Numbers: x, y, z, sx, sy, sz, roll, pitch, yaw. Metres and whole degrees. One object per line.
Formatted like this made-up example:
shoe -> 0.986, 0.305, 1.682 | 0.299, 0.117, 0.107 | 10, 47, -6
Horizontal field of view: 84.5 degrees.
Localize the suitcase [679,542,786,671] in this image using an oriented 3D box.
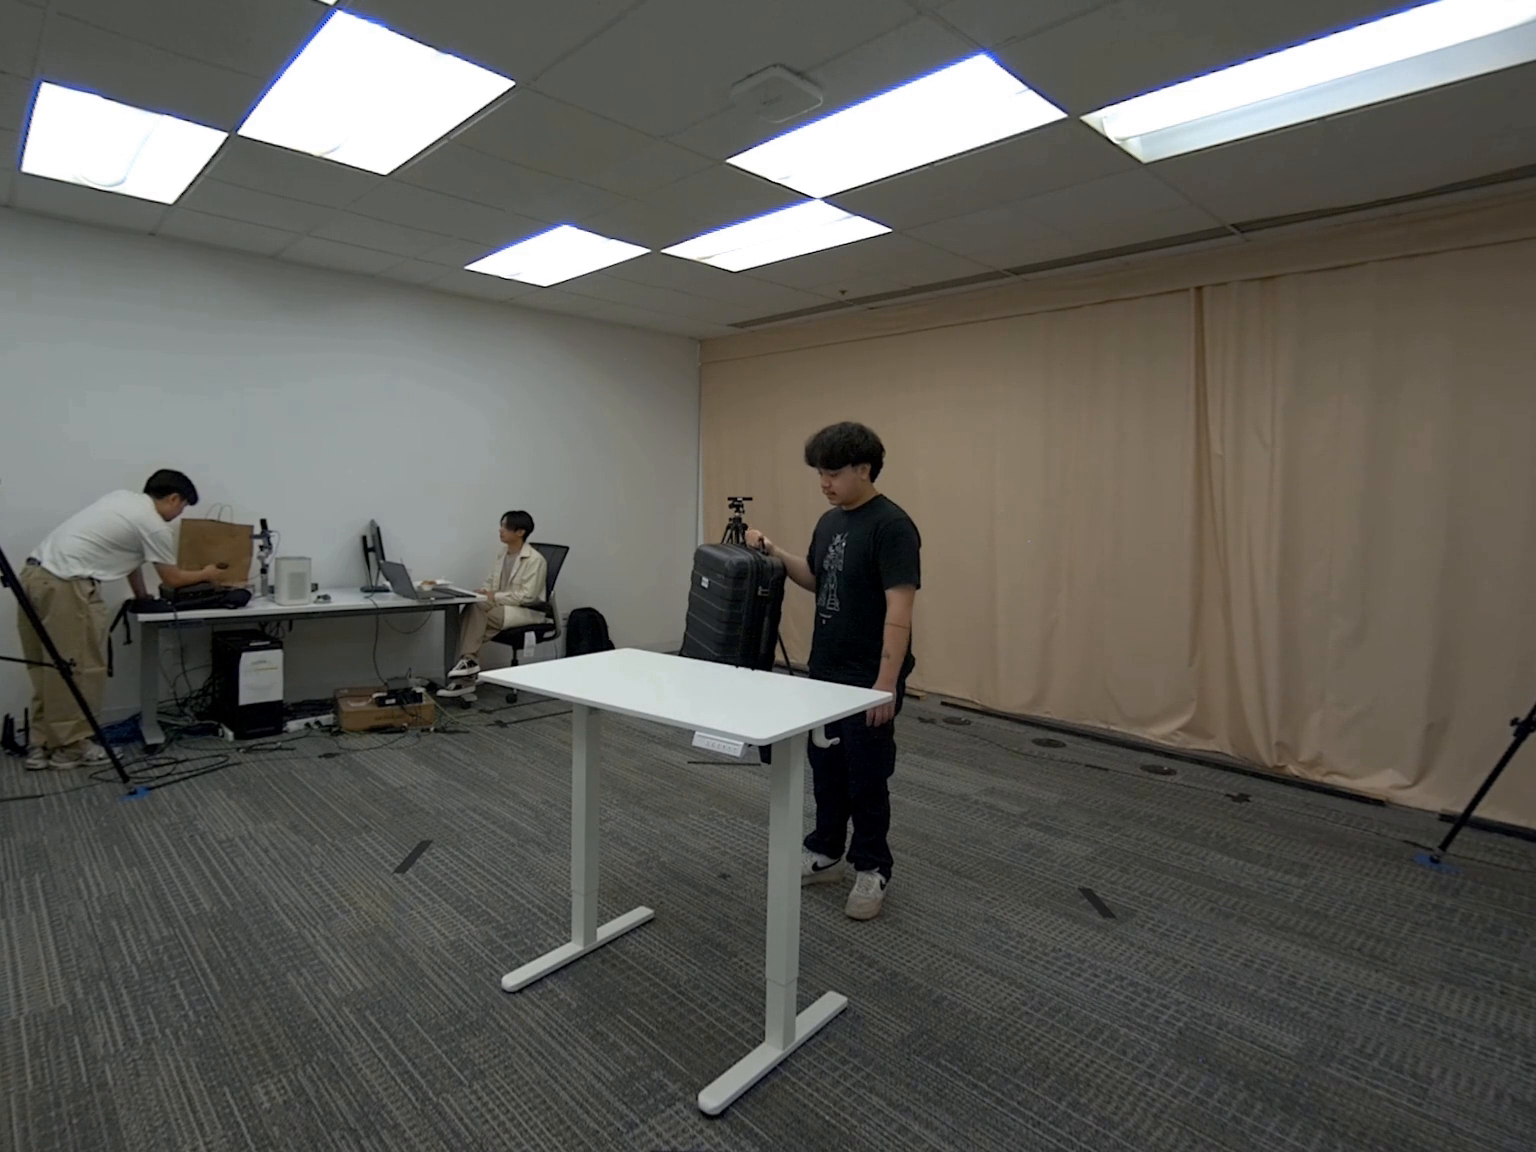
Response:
suitcase -> -0.134, 0.158, 3.116 | 0.243, 0.546, 0.385 | 3, 9, -26
